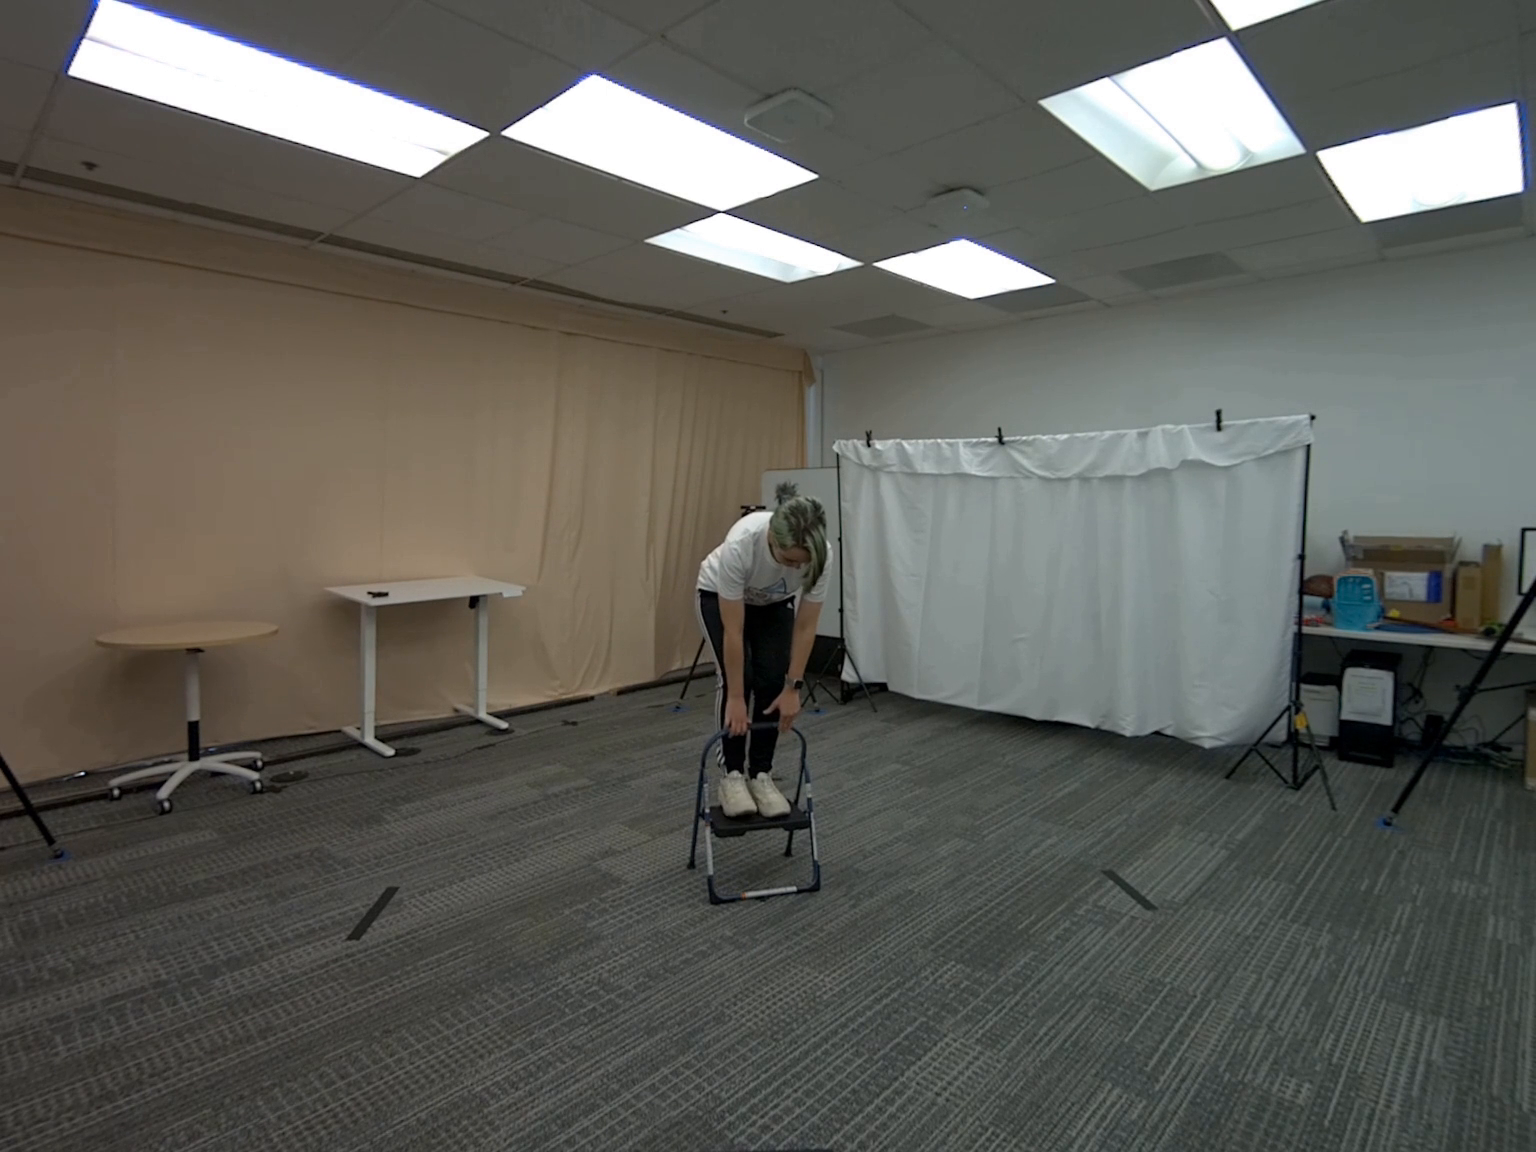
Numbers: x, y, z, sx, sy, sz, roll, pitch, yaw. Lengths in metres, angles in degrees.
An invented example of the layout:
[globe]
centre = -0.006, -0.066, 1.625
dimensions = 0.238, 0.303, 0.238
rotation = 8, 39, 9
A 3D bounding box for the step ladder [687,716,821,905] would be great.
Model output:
[step ladder]
centre = -0.056, 0.833, 3.134
dimensions = 0.423, 0.605, 0.356
rotation = -1, 3, -17
